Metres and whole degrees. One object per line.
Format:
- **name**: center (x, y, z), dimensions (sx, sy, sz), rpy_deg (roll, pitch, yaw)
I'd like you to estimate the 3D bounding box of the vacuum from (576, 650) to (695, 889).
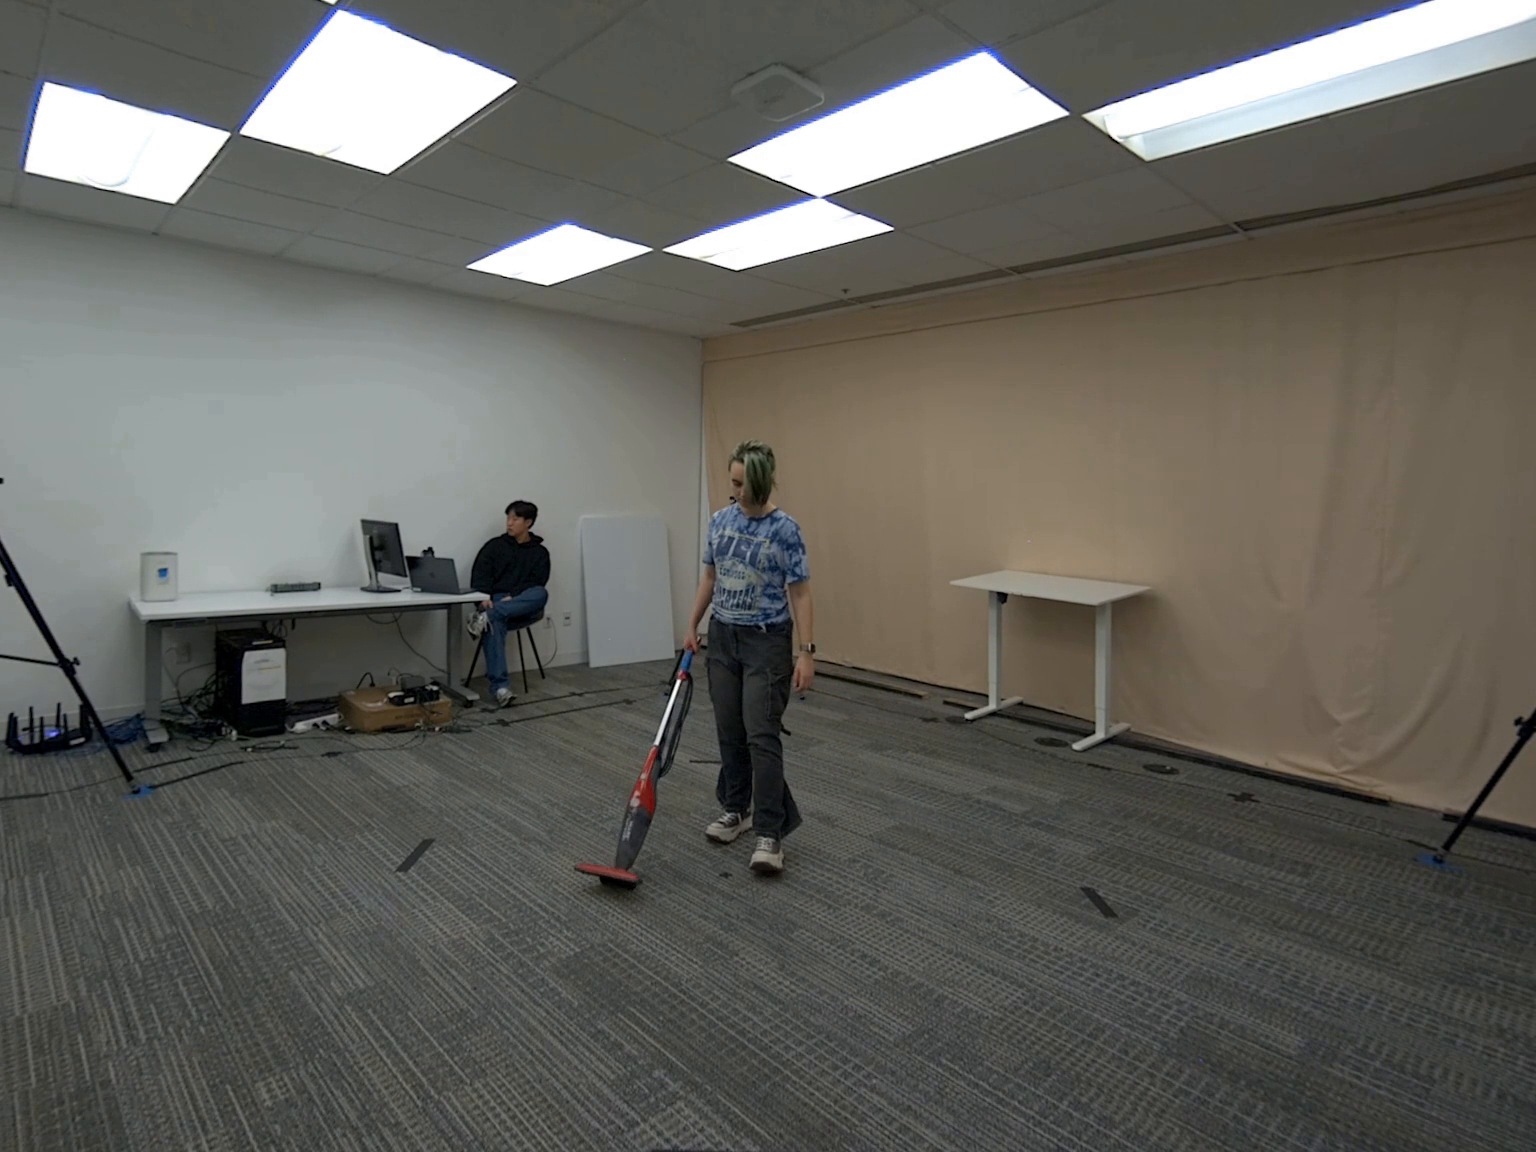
- **vacuum**: center (-0.430, 0.682, 3.269), dimensions (0.257, 1.063, 0.140), rpy_deg (1, -41, 20)
